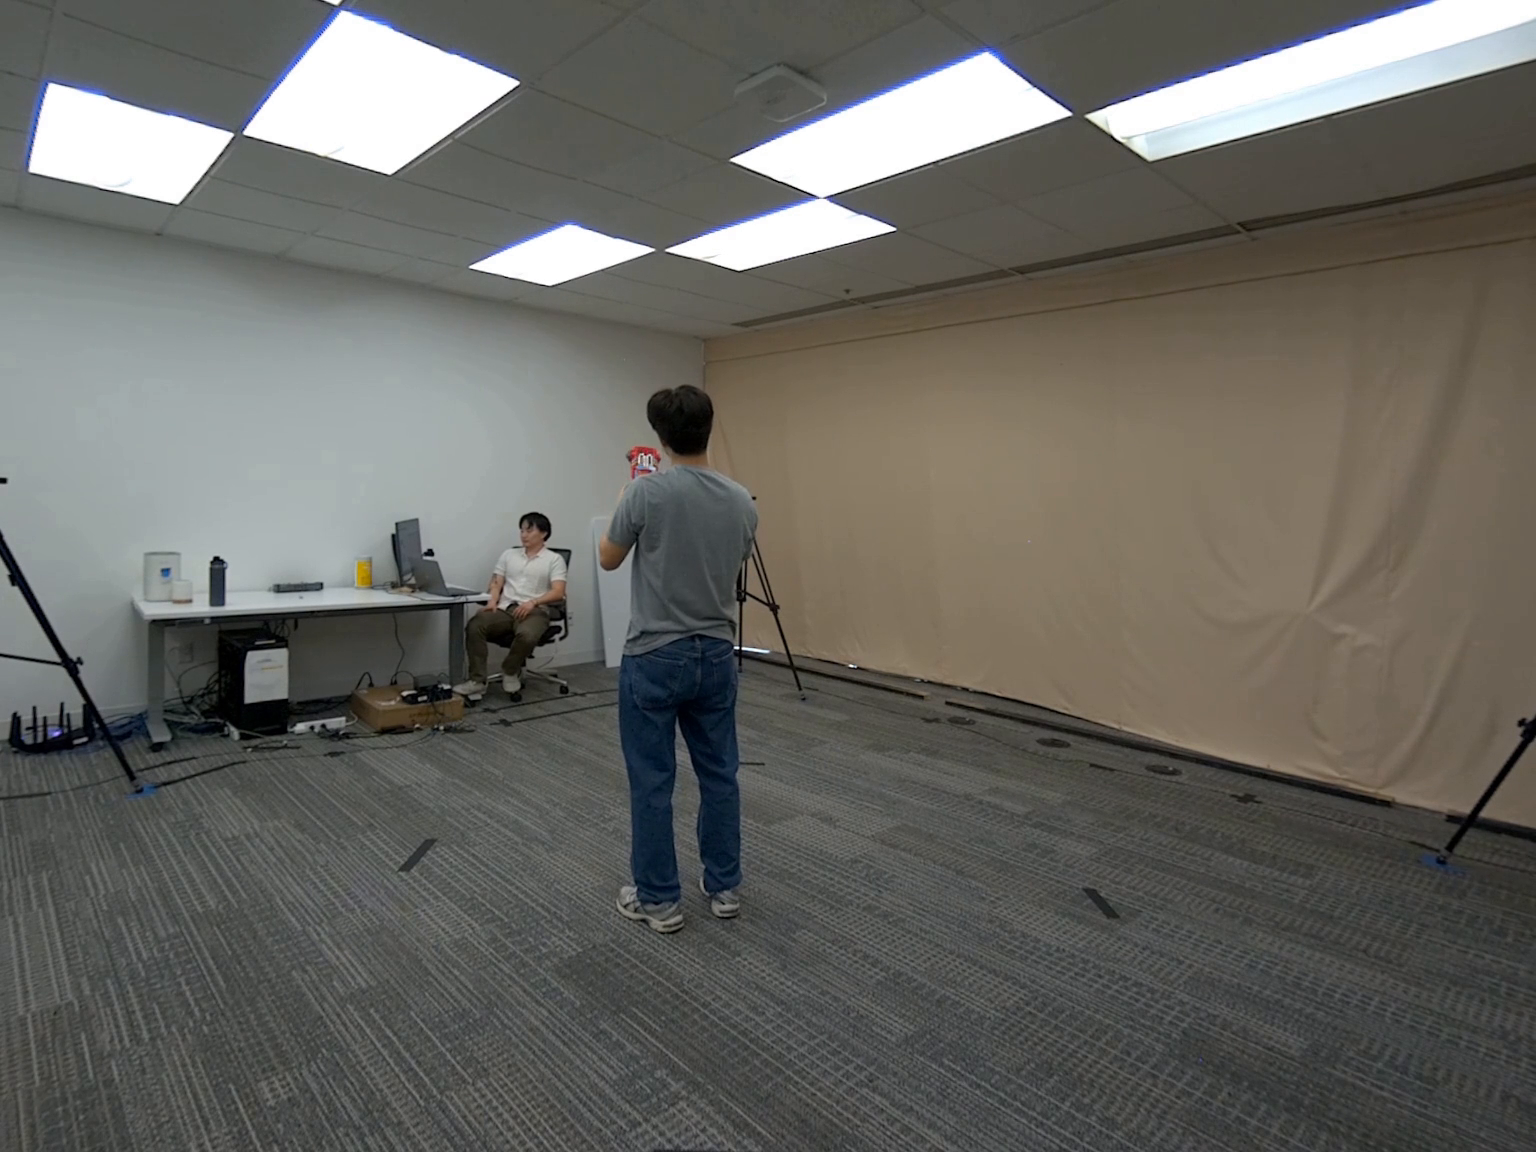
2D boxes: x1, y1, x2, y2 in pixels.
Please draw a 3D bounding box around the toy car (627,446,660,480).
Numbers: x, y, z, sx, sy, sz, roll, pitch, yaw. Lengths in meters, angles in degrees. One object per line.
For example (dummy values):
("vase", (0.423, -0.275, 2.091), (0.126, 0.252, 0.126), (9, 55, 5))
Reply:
("toy car", (-0.454, -0.337, 3.036), (0.128, 0.258, 0.084), (3, -17, -24))
